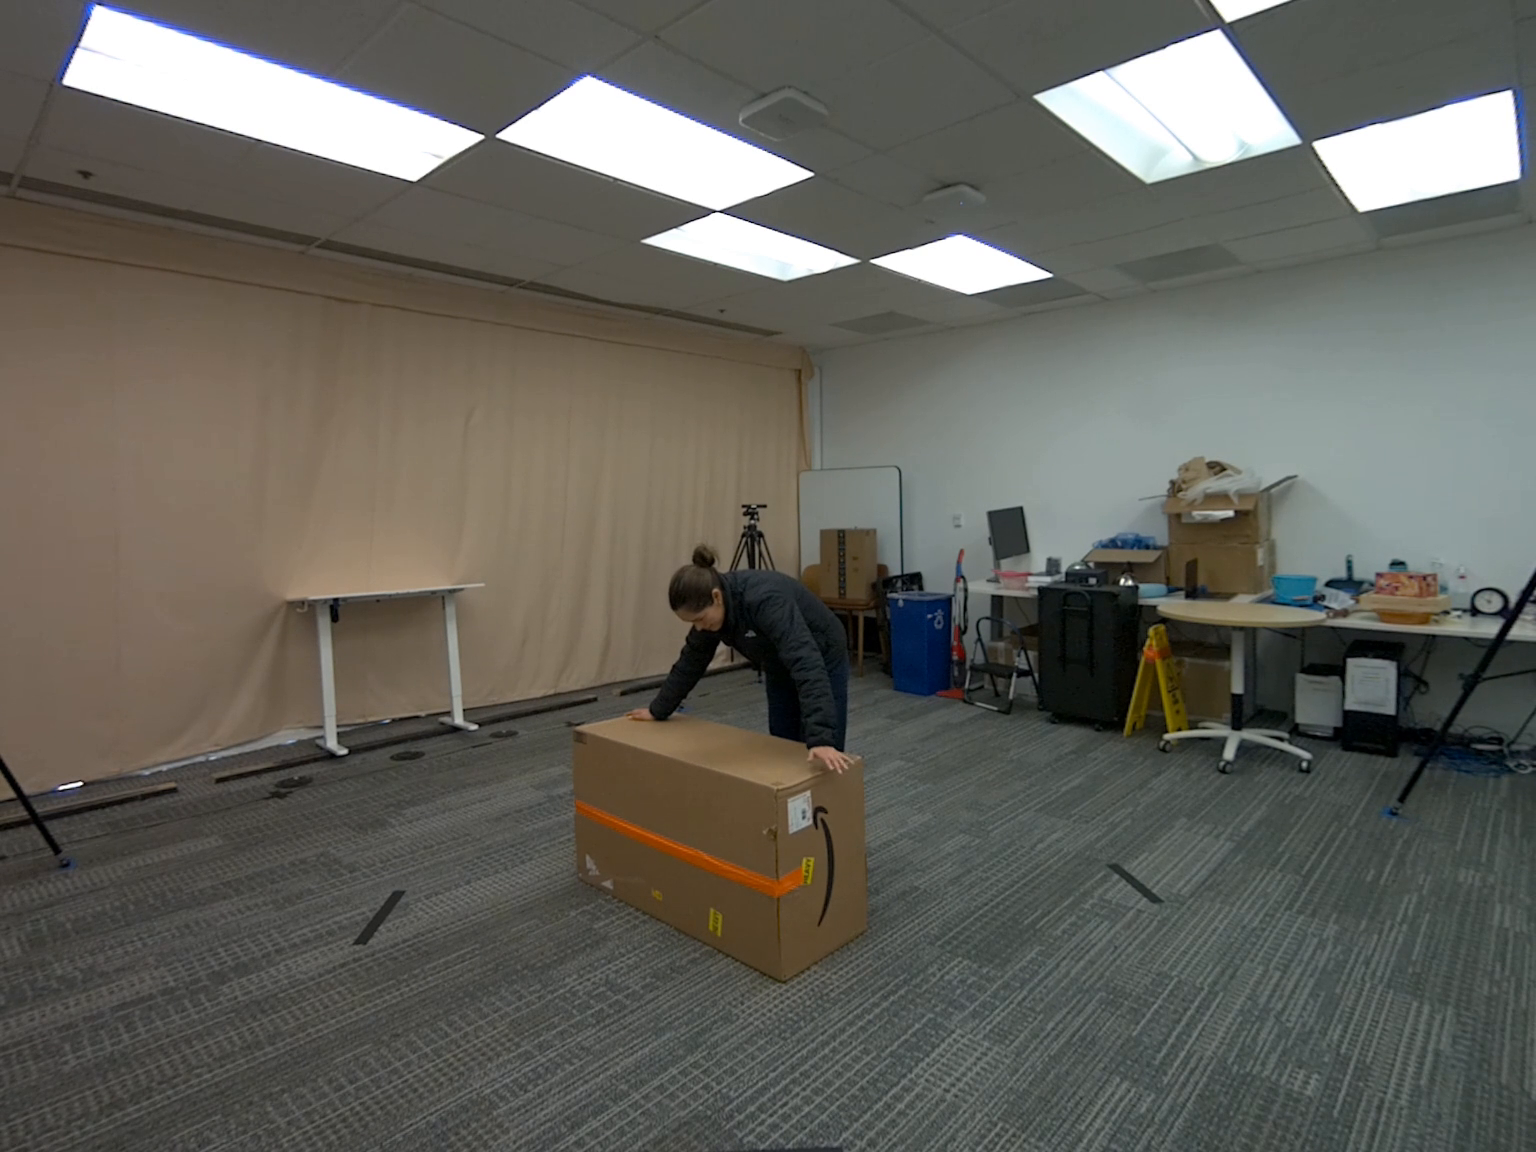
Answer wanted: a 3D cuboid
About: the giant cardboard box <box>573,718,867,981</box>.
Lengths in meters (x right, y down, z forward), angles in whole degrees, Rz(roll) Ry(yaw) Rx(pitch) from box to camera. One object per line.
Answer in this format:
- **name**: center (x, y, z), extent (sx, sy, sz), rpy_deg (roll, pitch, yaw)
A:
- **giant cardboard box**: center (-0.194, 0.862, 2.933), extent (1.061, 0.583, 0.433), rpy_deg (2, 4, 44)
